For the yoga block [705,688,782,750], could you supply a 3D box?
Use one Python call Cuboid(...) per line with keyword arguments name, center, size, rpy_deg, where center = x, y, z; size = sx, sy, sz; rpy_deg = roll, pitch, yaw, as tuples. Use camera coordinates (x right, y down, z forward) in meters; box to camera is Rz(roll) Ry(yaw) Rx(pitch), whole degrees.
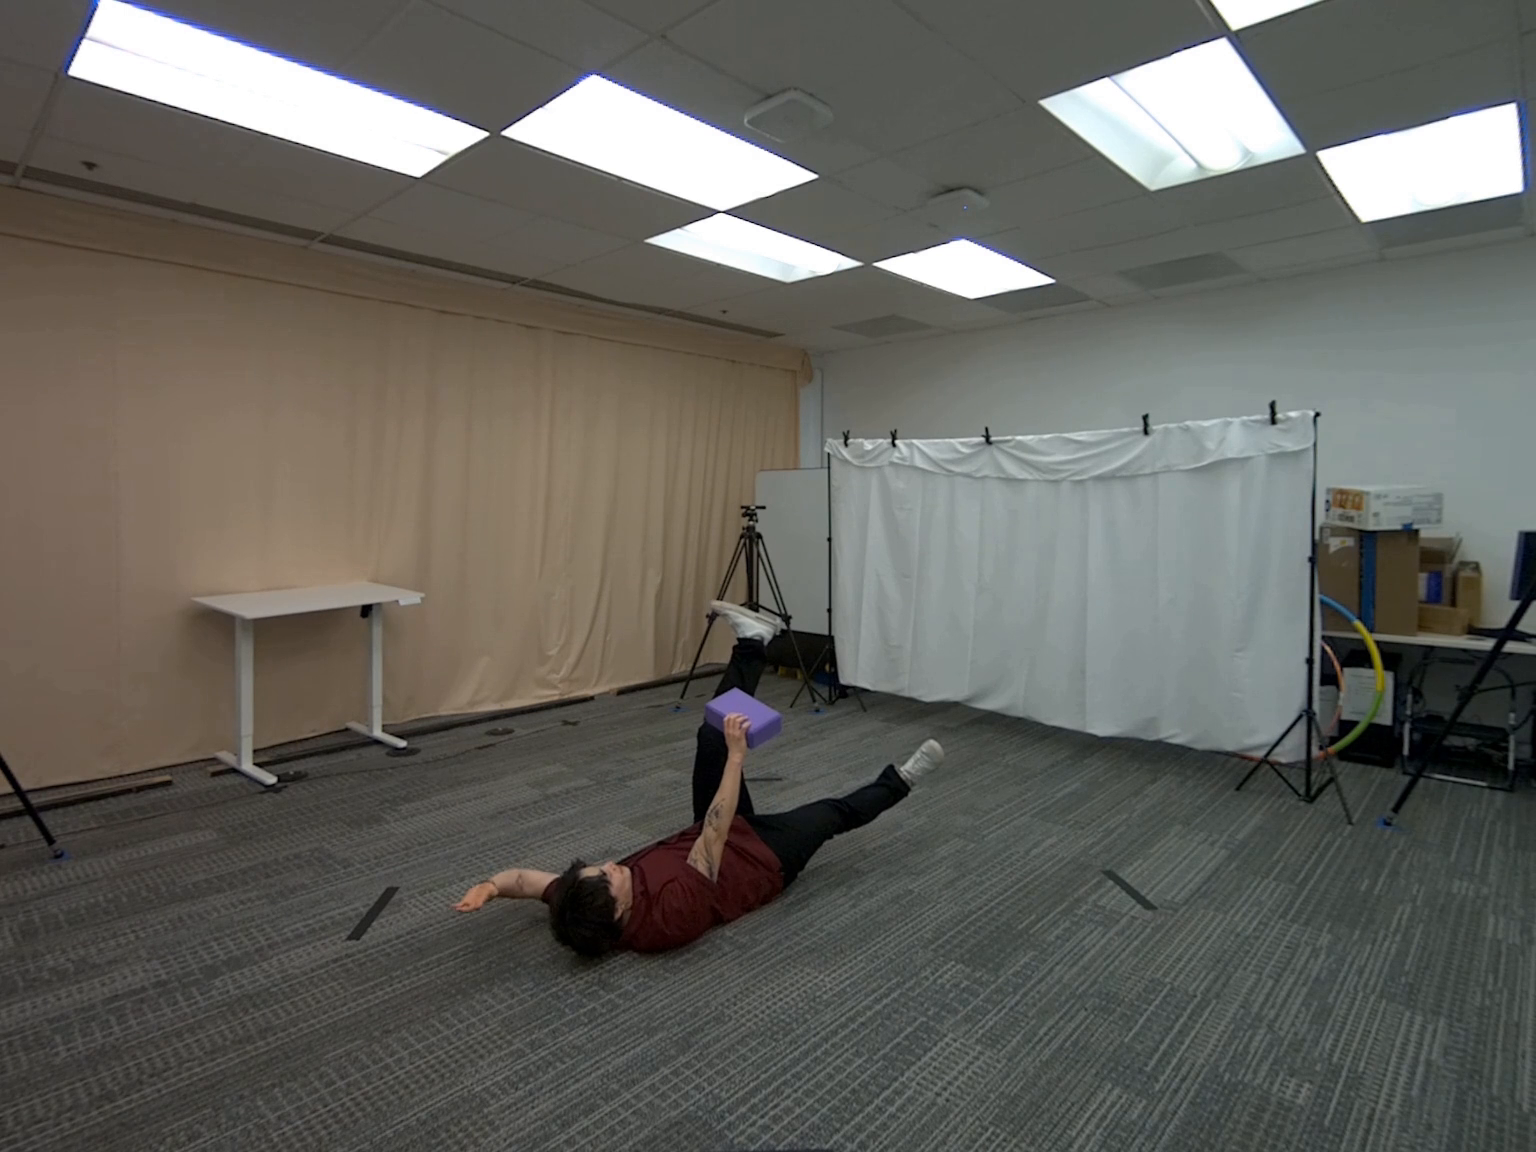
Cuboid(name="yoga block", center=(-0.077, 0.472, 2.820), size=(0.146, 0.075, 0.238), rpy_deg=(-22, 31, -37))
